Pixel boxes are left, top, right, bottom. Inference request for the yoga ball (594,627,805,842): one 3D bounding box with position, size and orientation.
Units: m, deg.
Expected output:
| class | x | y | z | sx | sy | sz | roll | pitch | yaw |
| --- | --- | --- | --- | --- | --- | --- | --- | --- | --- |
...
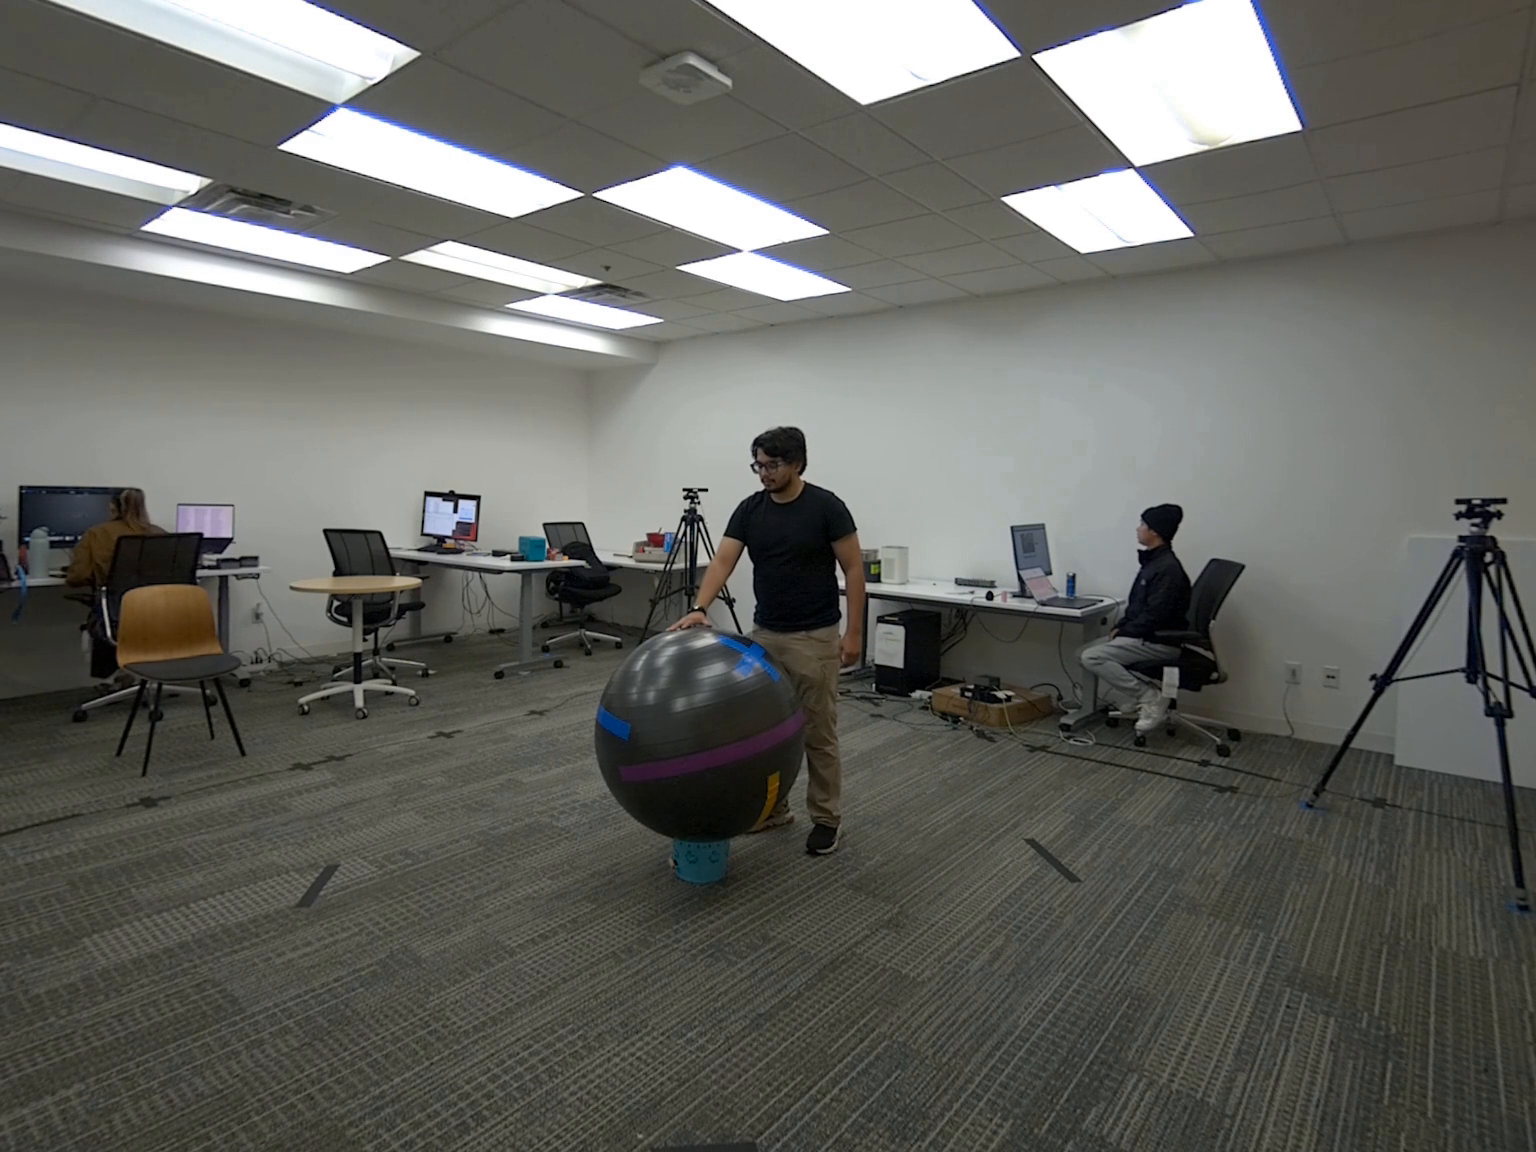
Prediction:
| class | x | y | z | sx | sy | sz | roll | pitch | yaw |
| --- | --- | --- | --- | --- | --- | --- | --- | --- | --- |
| yoga ball | -0.258 | 0.565 | 3.071 | 0.757 | 0.756 | 0.762 | 1 | 4 | -2 |
